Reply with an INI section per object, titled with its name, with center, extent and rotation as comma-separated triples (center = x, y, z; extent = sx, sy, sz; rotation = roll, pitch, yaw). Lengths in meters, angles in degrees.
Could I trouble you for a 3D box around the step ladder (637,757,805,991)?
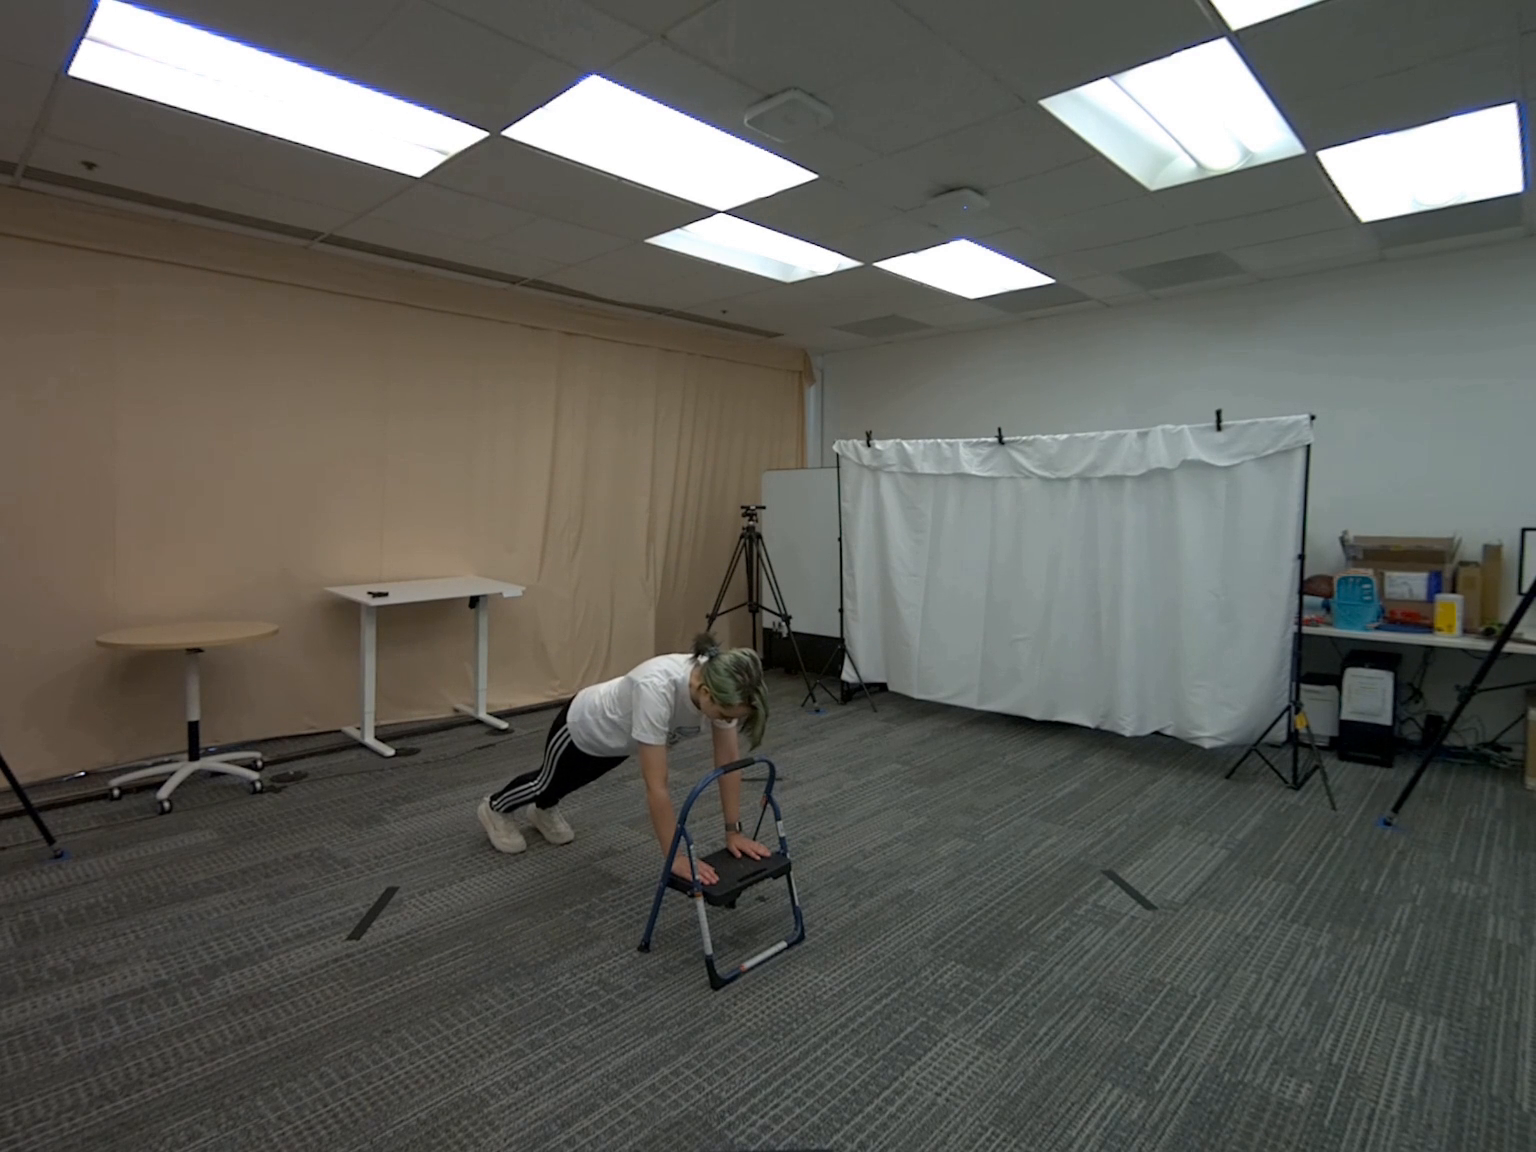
[step ladder]
center = -0.140, 0.869, 2.661
extent = 0.361, 0.605, 0.417
rotation = 3, 4, 42
